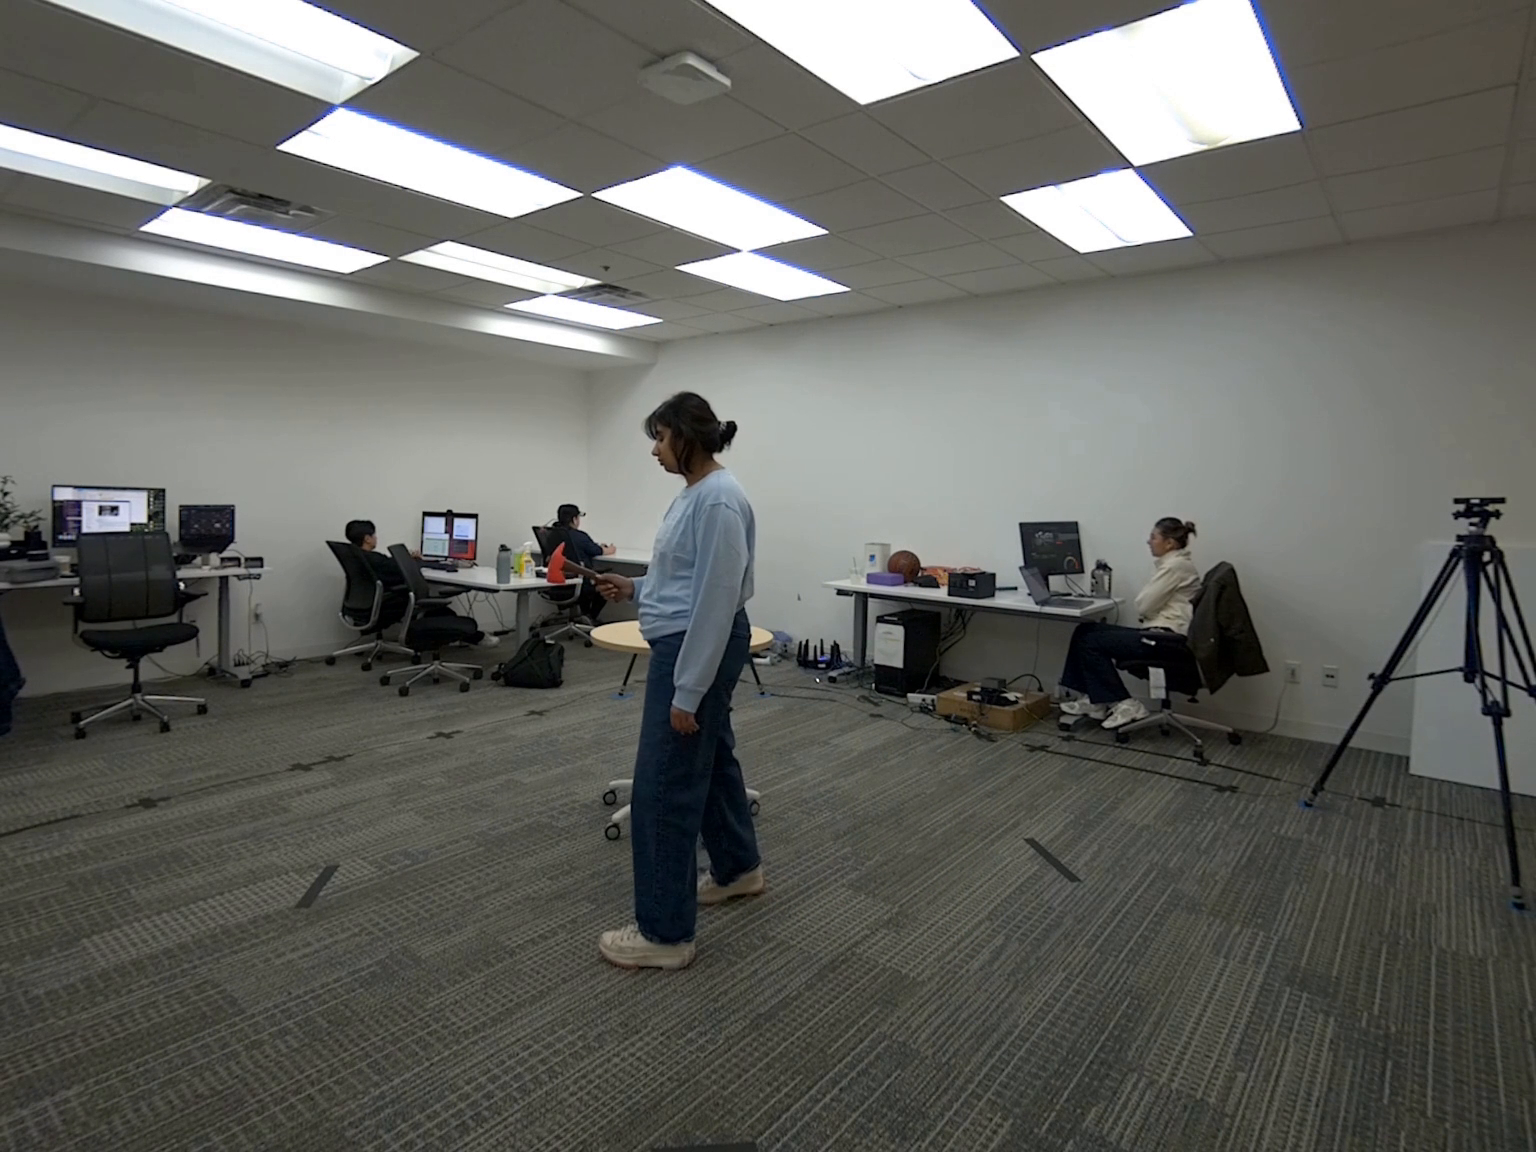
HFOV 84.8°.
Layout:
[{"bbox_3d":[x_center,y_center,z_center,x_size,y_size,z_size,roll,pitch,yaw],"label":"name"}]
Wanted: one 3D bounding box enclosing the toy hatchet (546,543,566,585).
[{"bbox_3d":[-0.601,0.017,2.721,0.267,0.131,0.030,39,-16,-7],"label":"toy hatchet"}]
